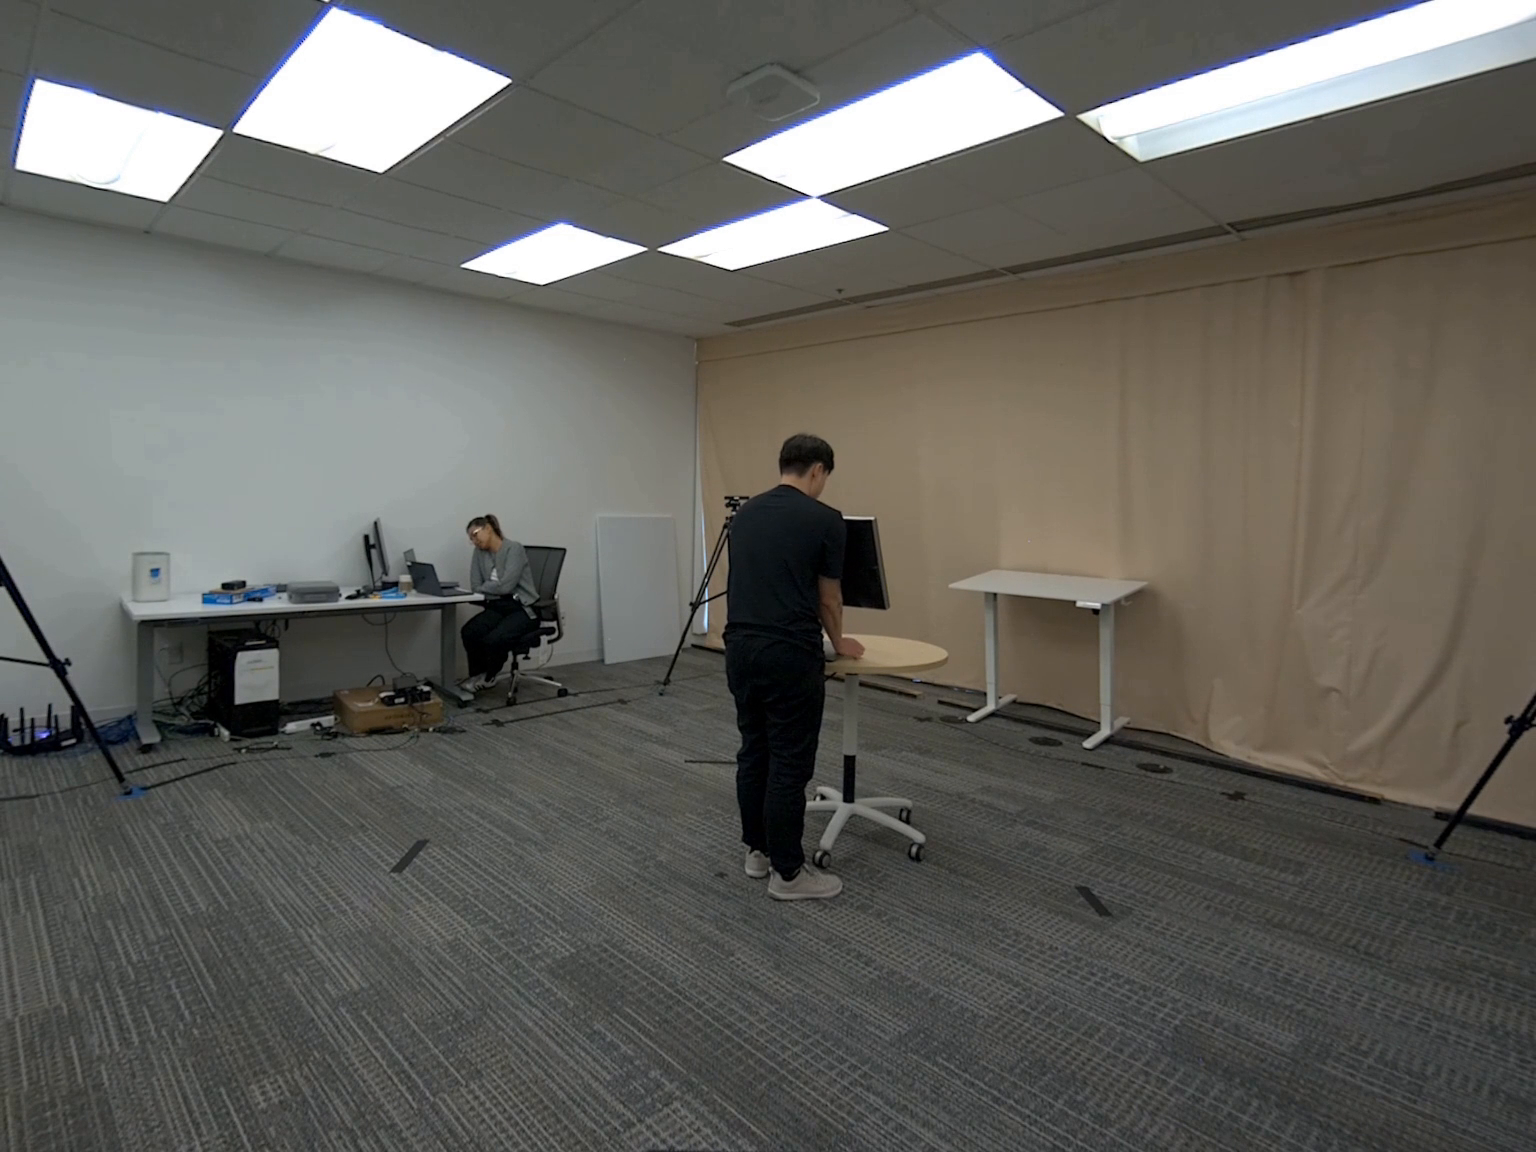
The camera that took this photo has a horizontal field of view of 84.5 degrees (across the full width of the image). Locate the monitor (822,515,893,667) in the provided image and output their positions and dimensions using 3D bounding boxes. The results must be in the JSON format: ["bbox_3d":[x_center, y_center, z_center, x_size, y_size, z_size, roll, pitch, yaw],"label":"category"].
[{"bbox_3d":[0.183,0.033,3.270,0.552,0.519,0.184,4,11,38],"label":"monitor"}]
